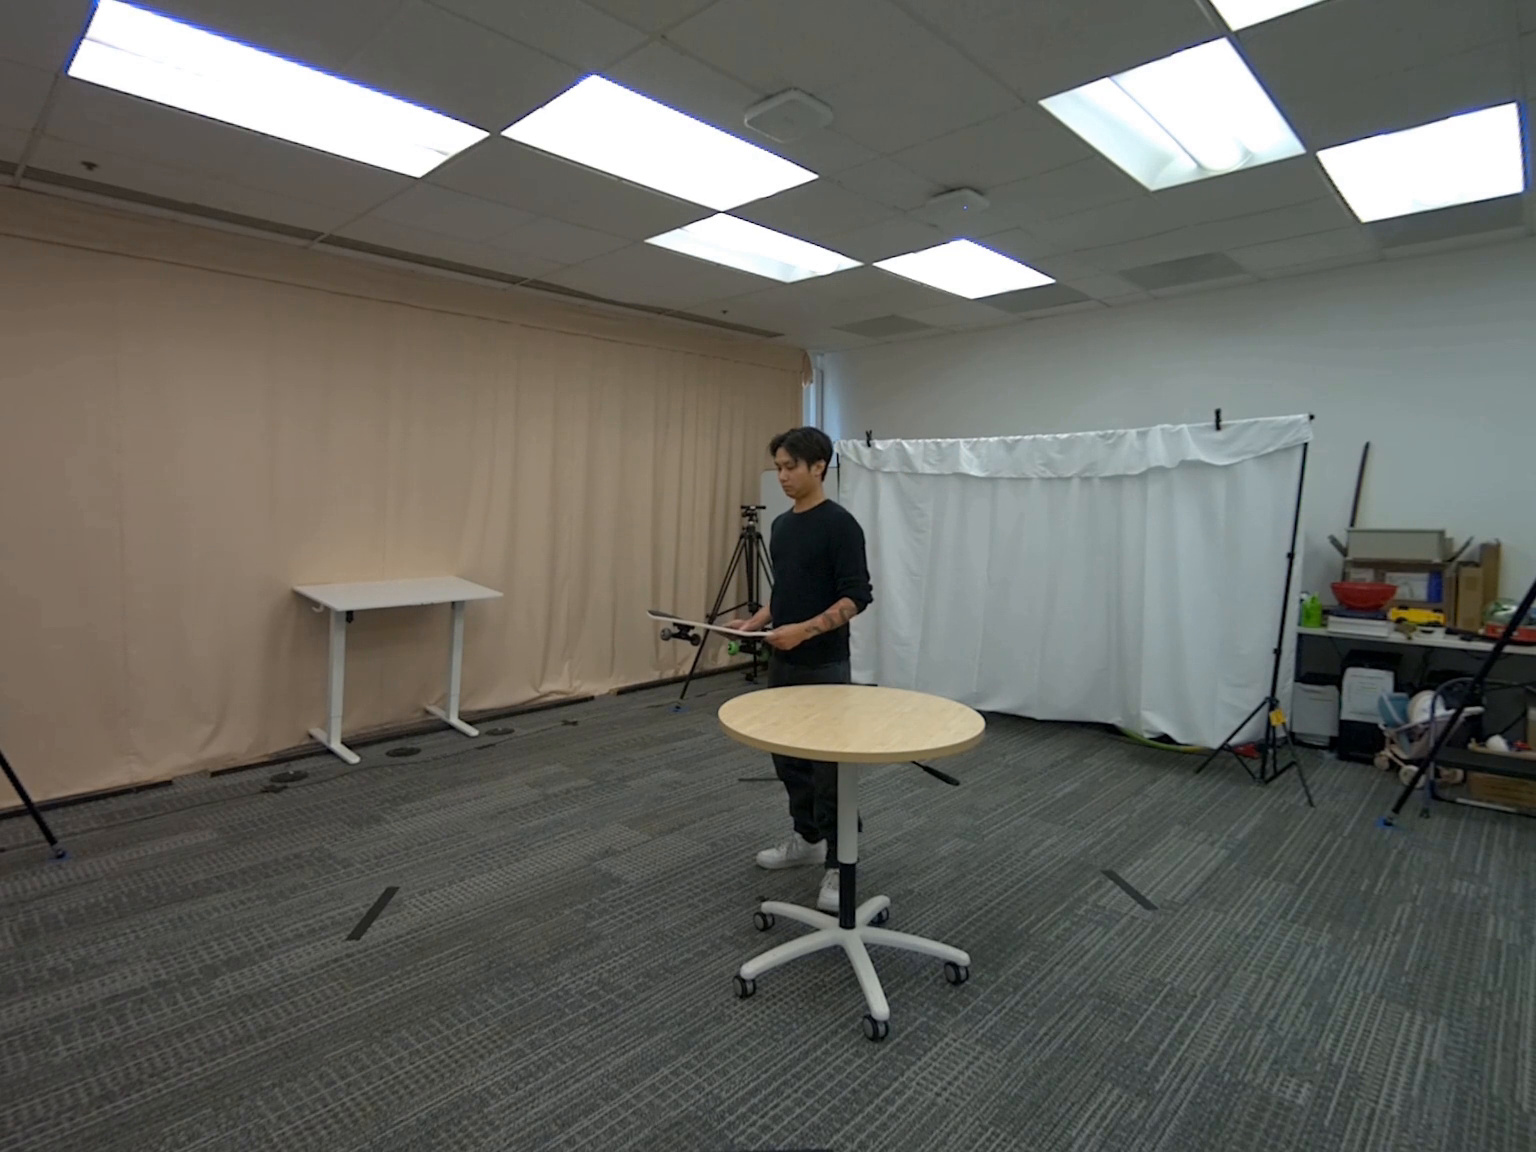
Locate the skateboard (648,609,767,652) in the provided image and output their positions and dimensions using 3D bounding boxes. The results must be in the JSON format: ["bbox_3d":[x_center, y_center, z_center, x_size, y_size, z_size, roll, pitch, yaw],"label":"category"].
[{"bbox_3d":[-0.196,0.231,3.210,0.186,0.110,0.812,17,-8,-43],"label":"skateboard"}]
